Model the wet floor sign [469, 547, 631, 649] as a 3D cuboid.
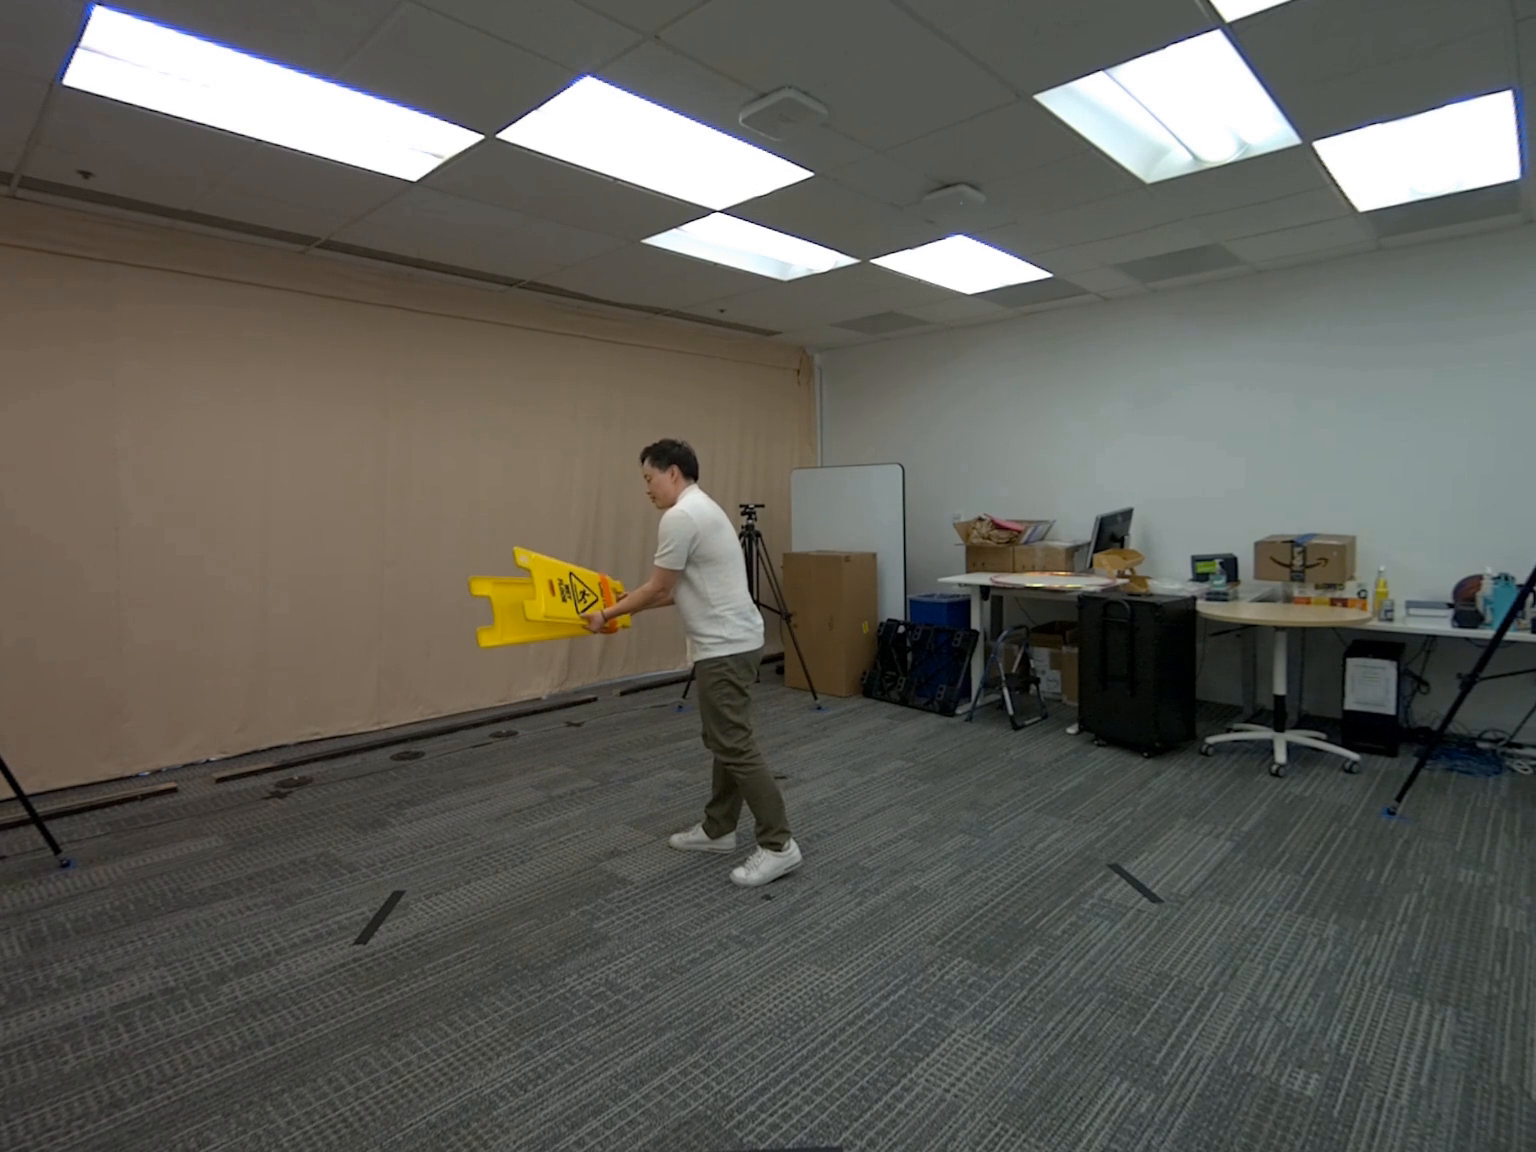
[{"bbox_3d":[-0.788,0.107,3.278,0.295,0.287,0.624,-28,-21,33],"label":"wet floor sign"}]
